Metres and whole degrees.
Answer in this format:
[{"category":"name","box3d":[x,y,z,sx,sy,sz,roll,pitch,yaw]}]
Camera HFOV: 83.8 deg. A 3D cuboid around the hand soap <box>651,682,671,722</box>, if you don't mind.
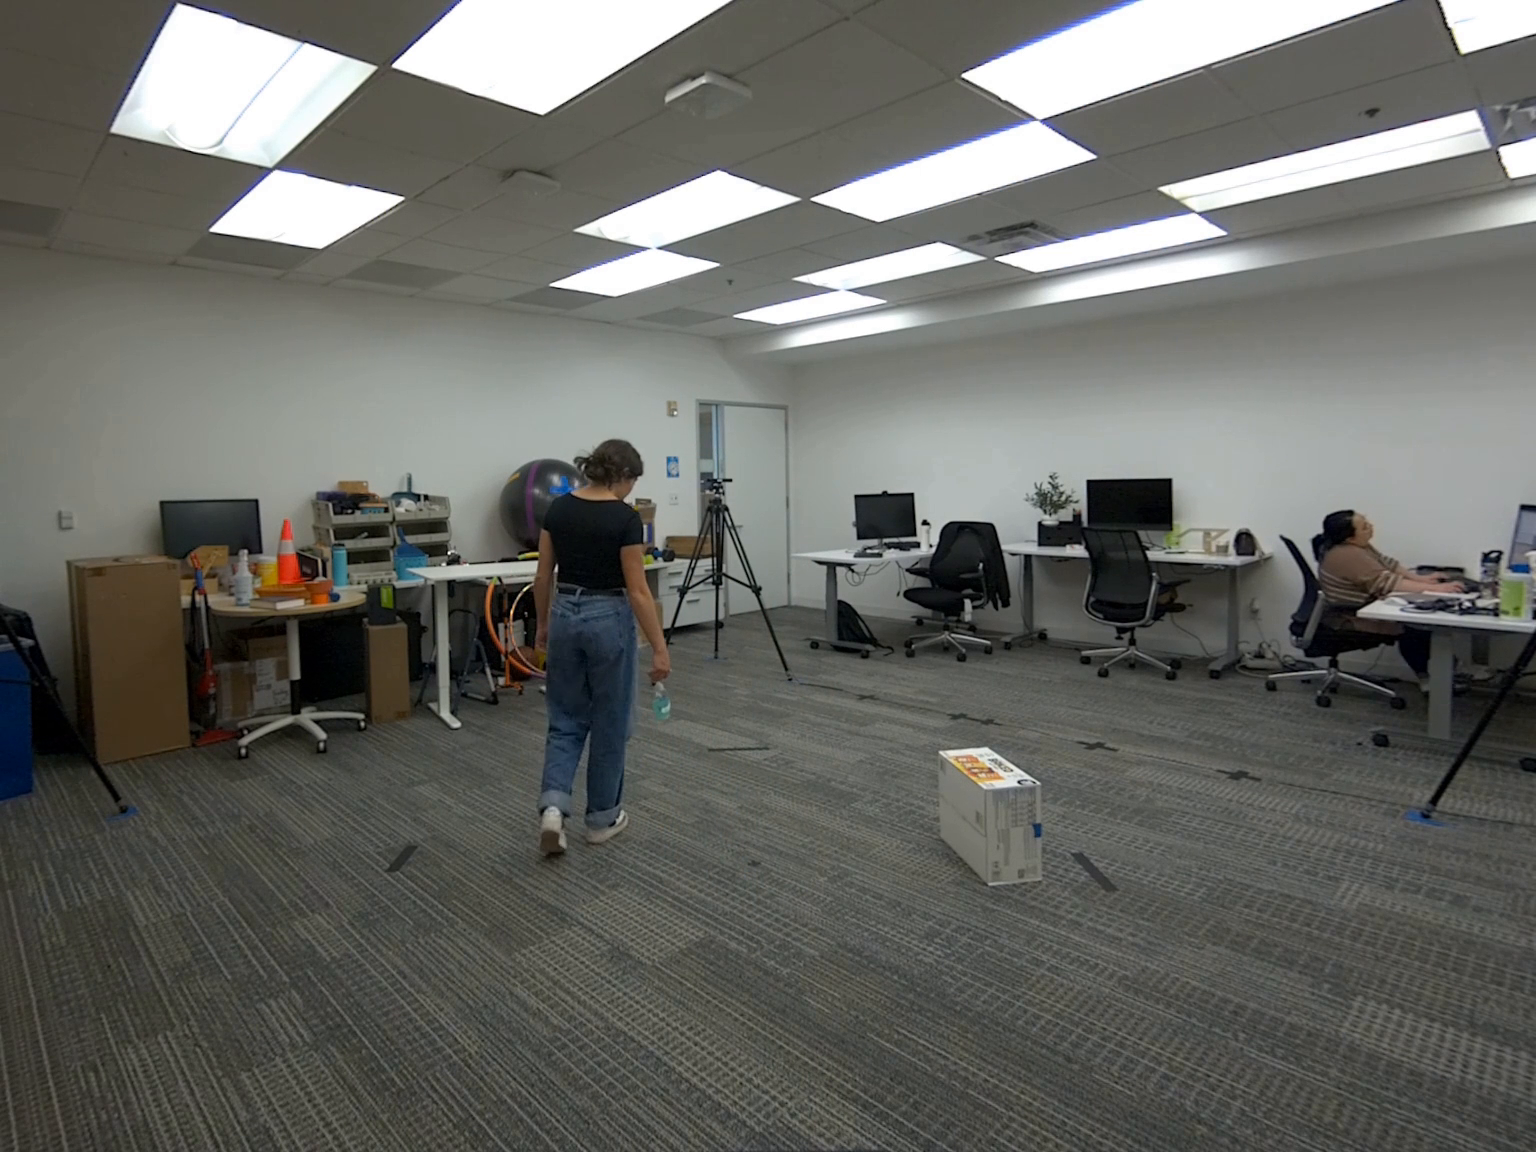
[{"category":"hand soap","box3d":[-0.413,0.458,3.253,0.044,0.168,0.082,-7,2,40]}]
